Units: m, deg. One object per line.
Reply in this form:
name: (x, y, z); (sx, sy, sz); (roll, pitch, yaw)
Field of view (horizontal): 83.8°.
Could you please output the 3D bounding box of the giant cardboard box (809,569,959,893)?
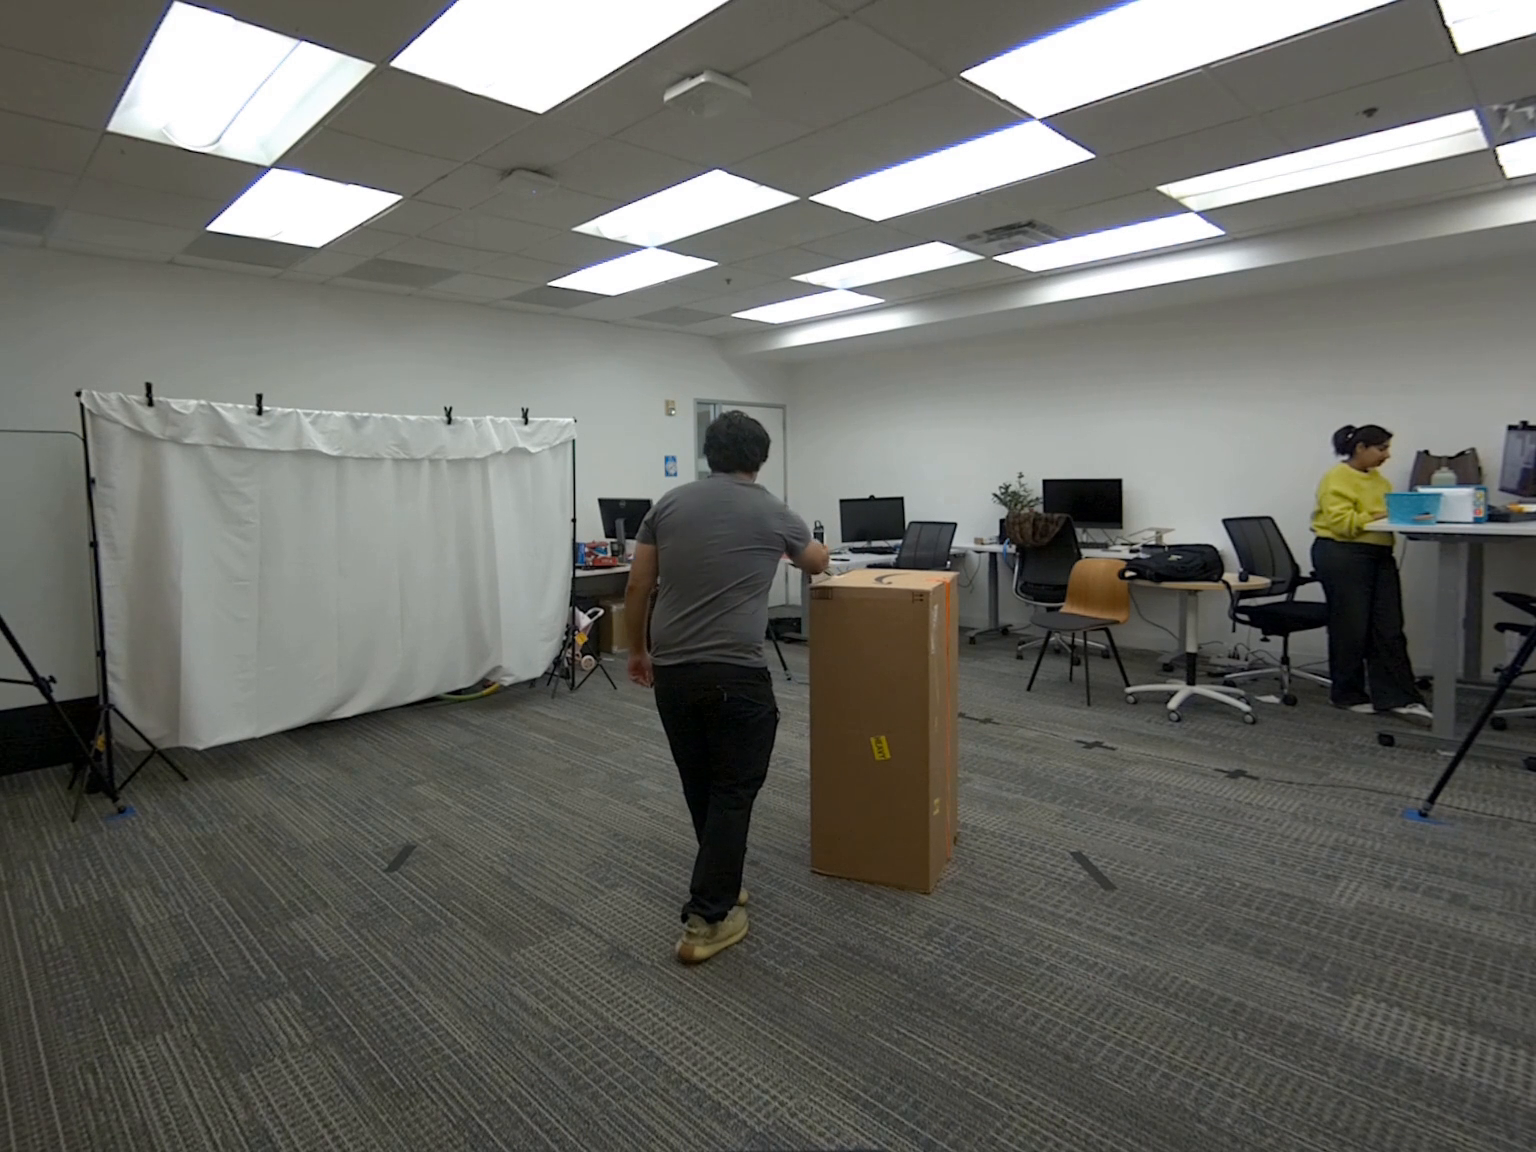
giant cardboard box: (0.448, 0.516, 3.164); (0.436, 1.022, 0.567); (1, 4, 24)
